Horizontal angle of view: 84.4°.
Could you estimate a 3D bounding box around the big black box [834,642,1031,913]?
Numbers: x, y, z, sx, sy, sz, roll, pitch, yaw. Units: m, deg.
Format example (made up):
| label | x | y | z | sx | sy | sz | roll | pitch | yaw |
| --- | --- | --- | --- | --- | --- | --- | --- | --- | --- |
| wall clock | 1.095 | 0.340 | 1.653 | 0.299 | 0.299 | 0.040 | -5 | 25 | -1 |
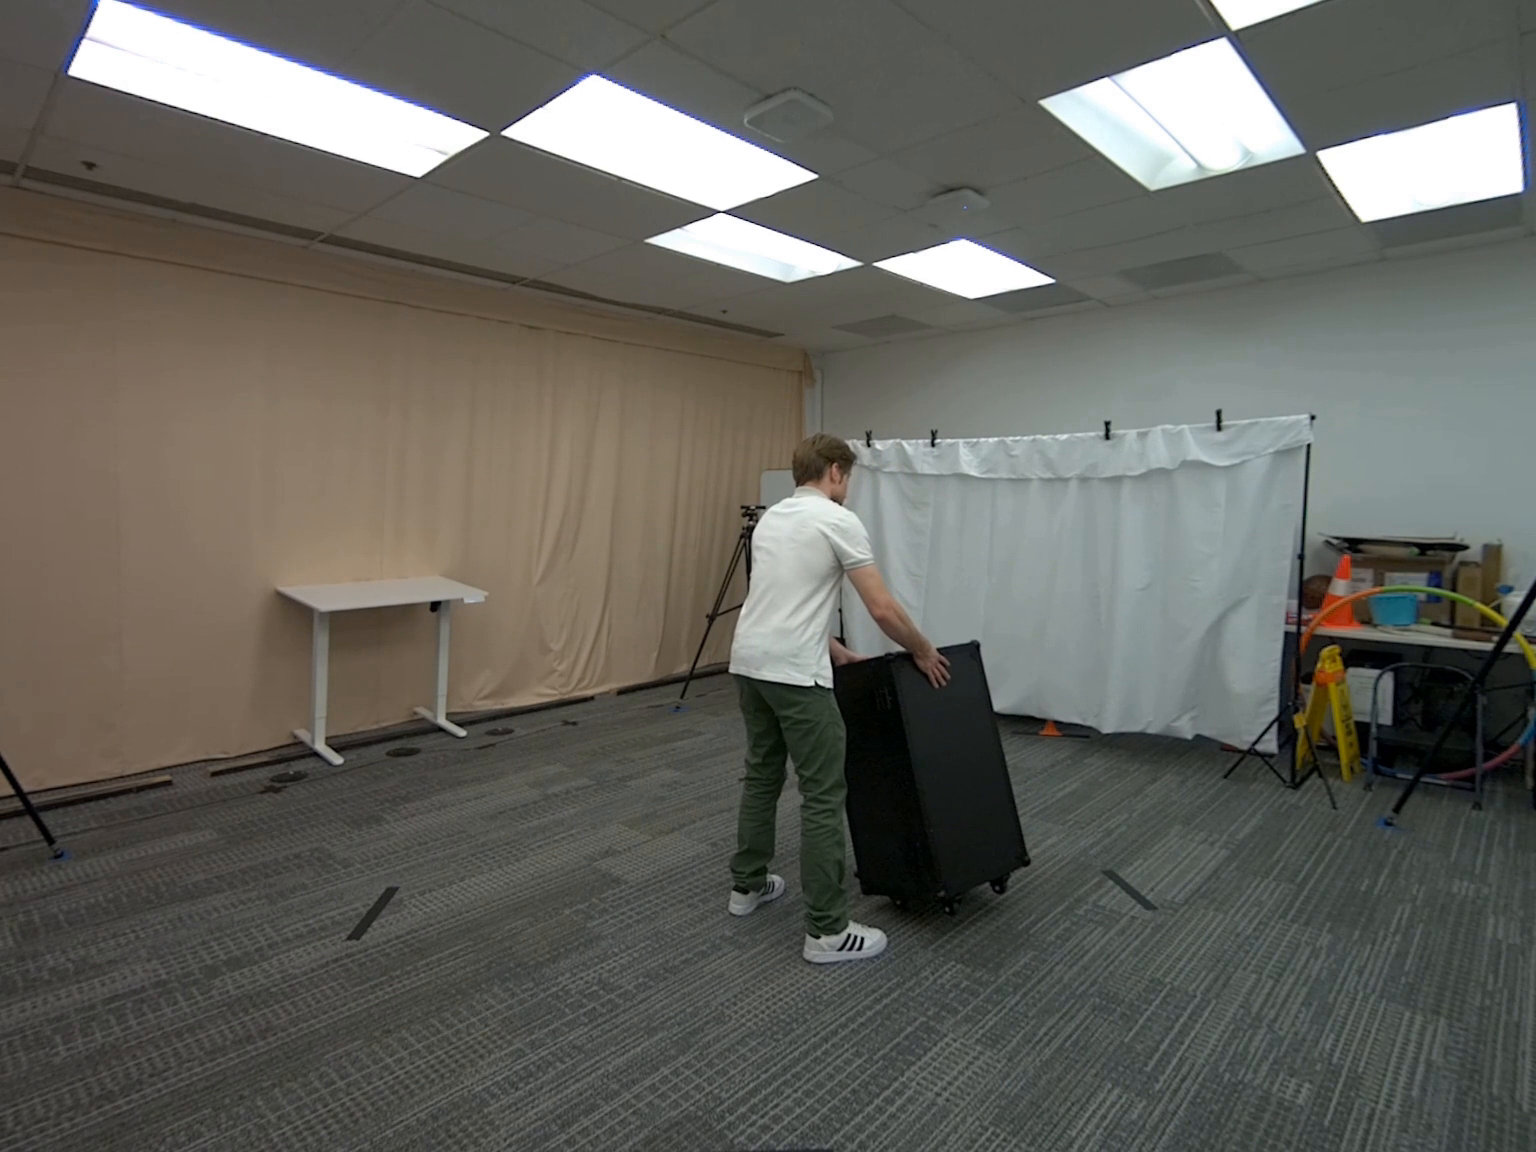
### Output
| label | x | y | z | sx | sy | sz | roll | pitch | yaw |
| --- | --- | --- | --- | --- | --- | --- | --- | --- | --- |
| big black box | 0.550 | 0.705 | 2.978 | 0.507 | 0.876 | 0.394 | -2 | -13 | -39 |
